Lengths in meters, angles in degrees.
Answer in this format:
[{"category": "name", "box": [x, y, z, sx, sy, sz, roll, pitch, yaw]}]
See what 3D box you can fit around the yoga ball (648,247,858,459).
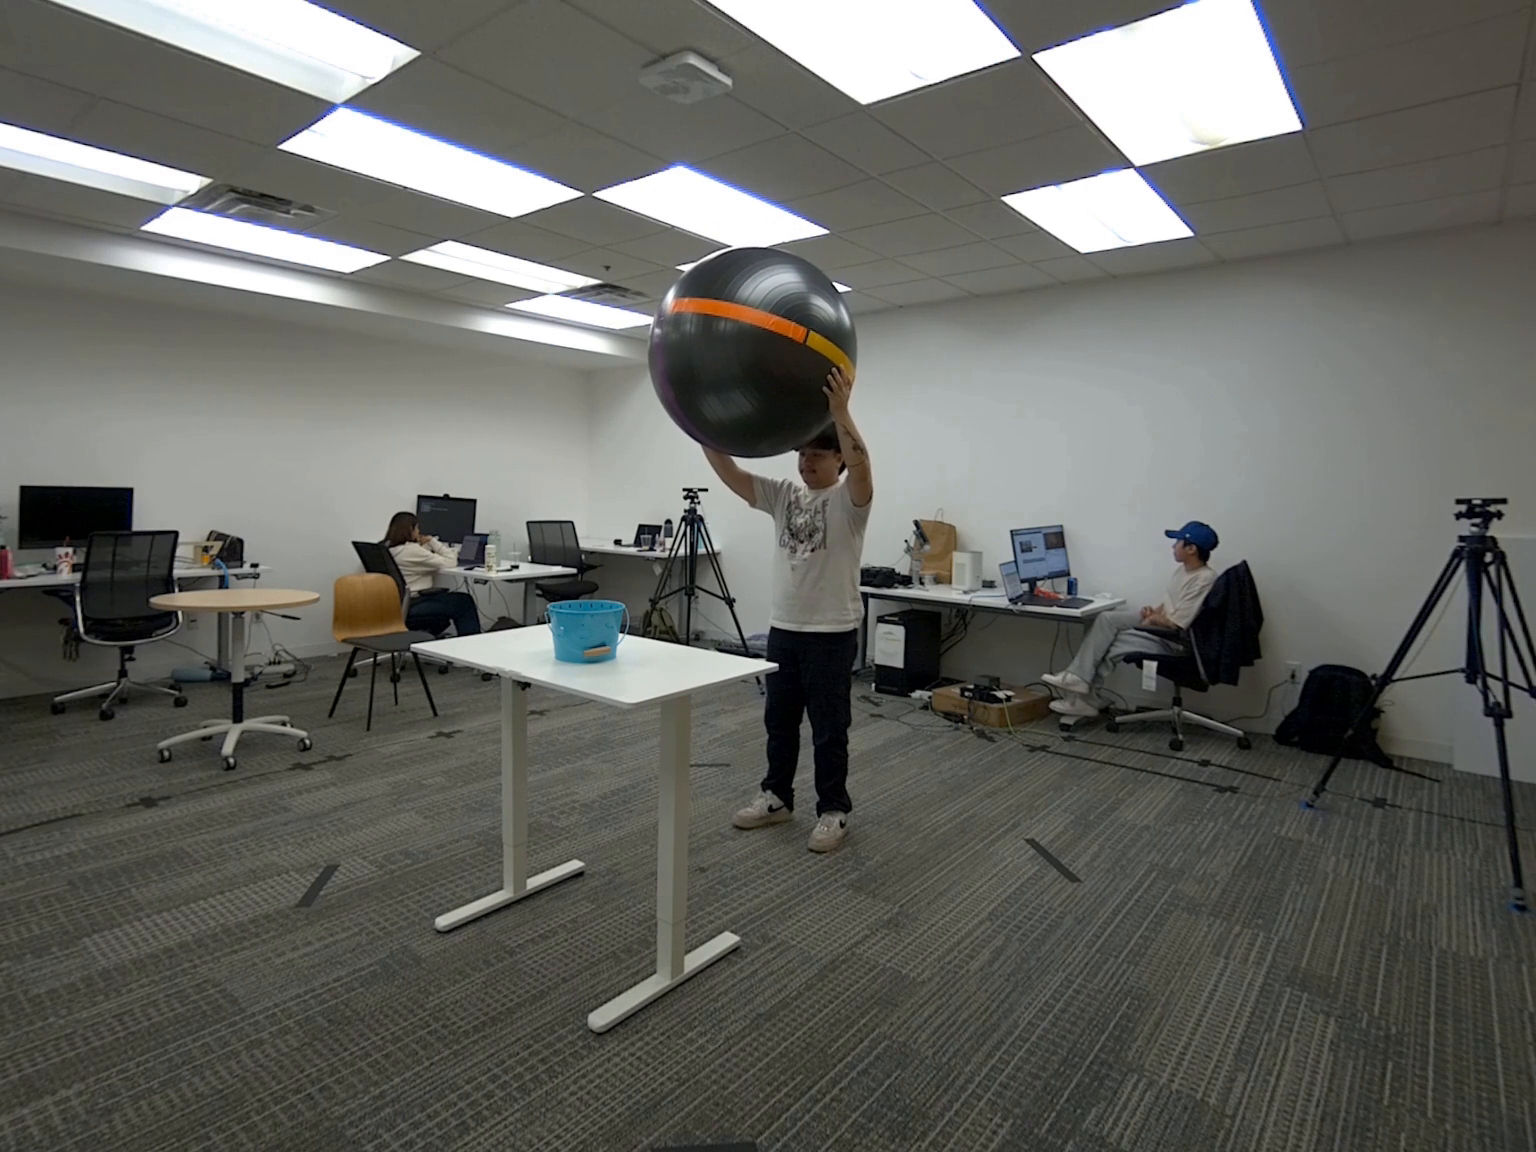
[{"category": "yoga ball", "box": [-0.072, -0.812, 3.104, 0.757, 0.755, 0.762, 1, 4, -2]}]
